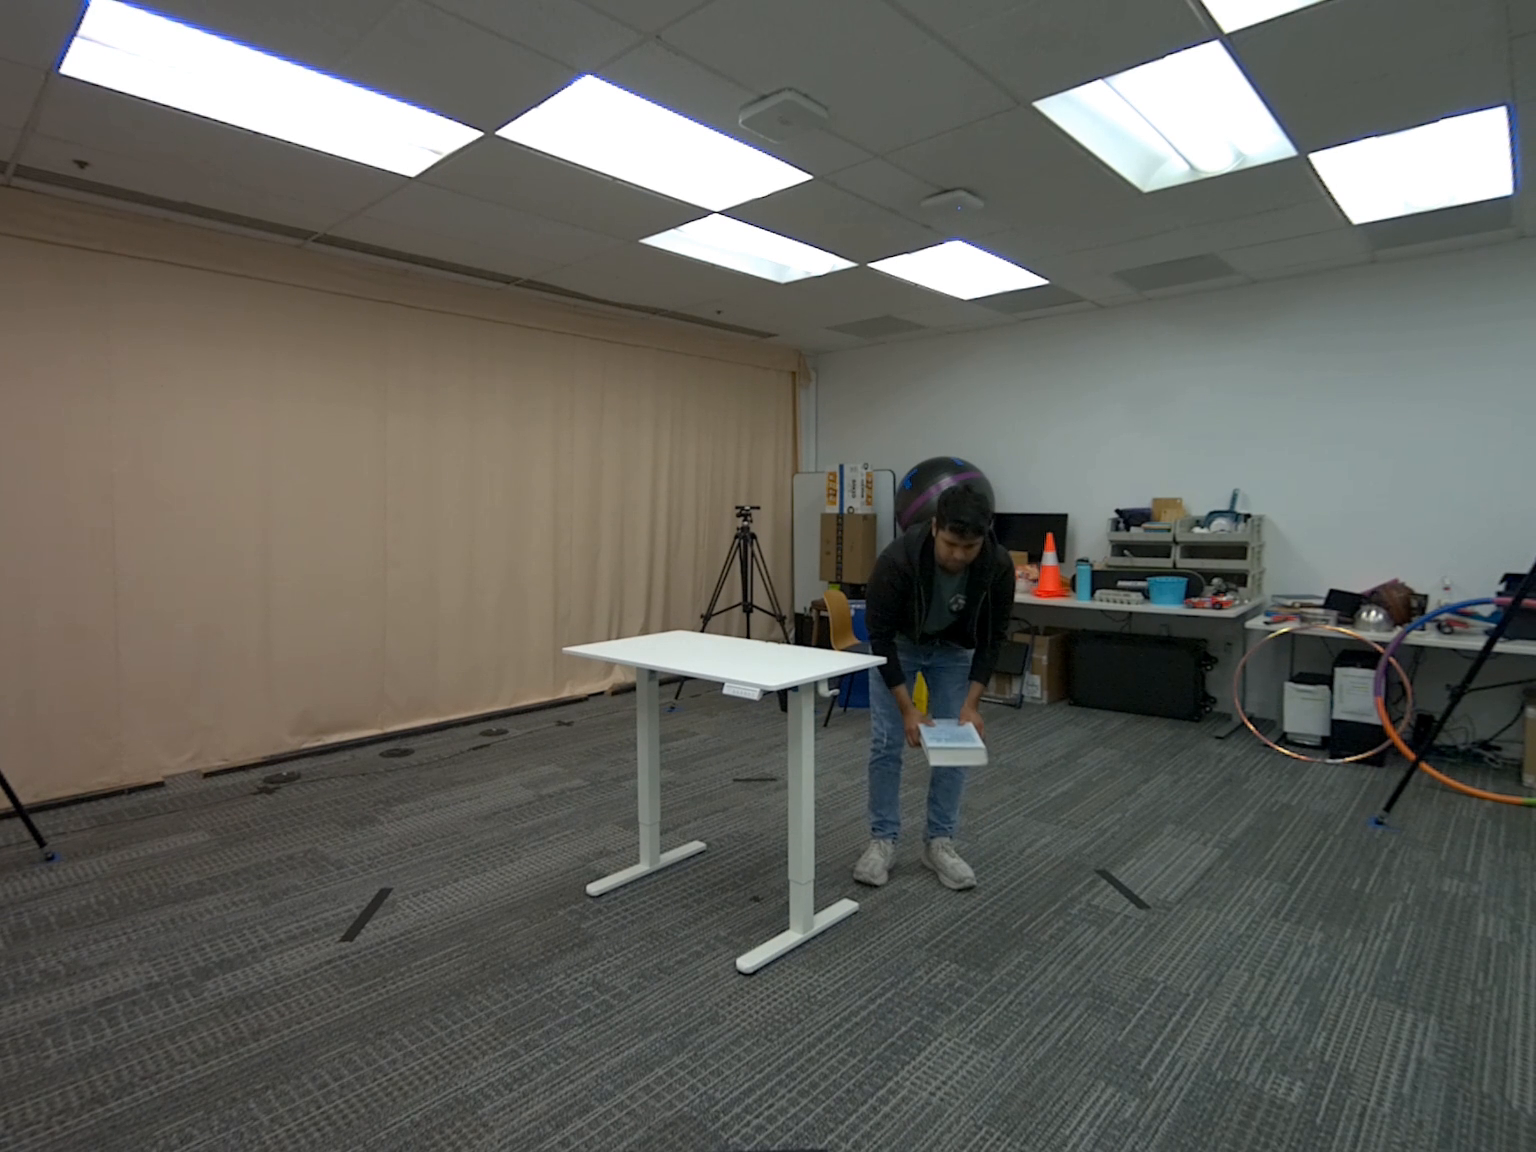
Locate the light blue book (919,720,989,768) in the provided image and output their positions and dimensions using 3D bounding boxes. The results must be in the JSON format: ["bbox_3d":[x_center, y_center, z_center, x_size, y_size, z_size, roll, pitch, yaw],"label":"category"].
[{"bbox_3d":[0.608,0.554,2.828,0.193,0.059,0.261,1,9,4],"label":"light blue book"}]
